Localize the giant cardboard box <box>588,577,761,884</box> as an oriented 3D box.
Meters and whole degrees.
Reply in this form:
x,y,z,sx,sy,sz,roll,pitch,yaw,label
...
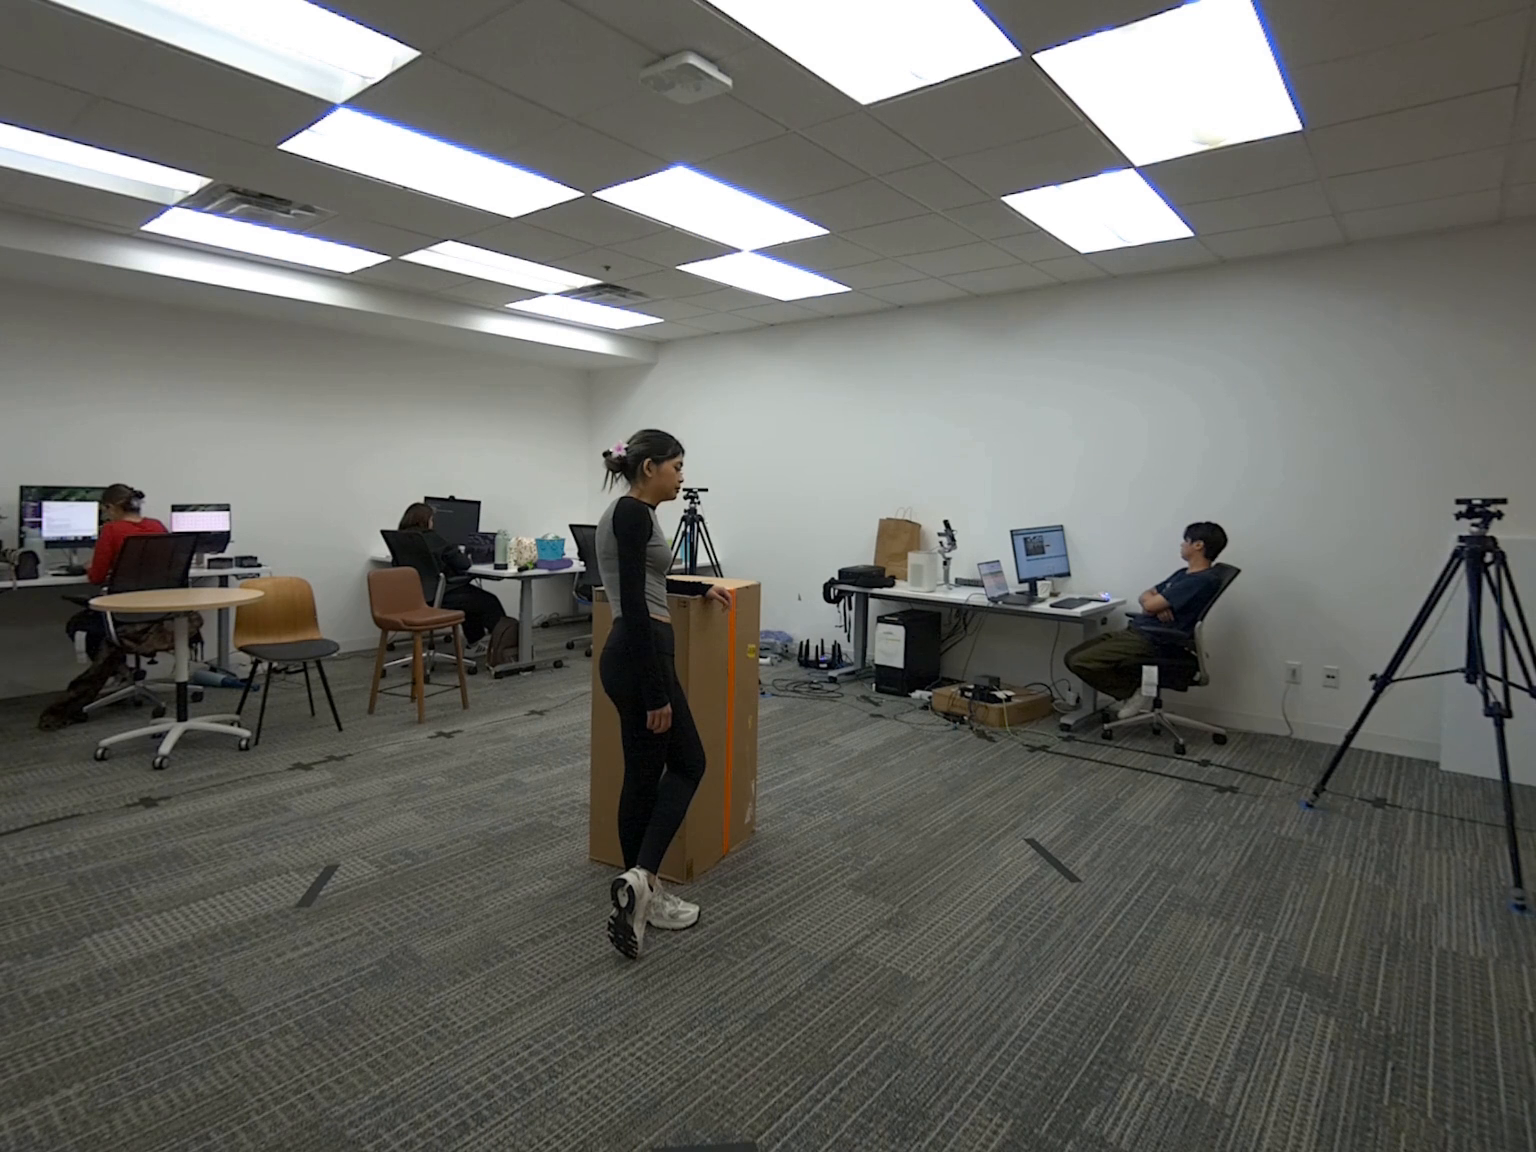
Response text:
x,y,z,sx,sy,sz,roll,pitch,yaw,label
-0.356,0.539,3.302,0.438,1.023,0.564,3,4,27,giant cardboard box
